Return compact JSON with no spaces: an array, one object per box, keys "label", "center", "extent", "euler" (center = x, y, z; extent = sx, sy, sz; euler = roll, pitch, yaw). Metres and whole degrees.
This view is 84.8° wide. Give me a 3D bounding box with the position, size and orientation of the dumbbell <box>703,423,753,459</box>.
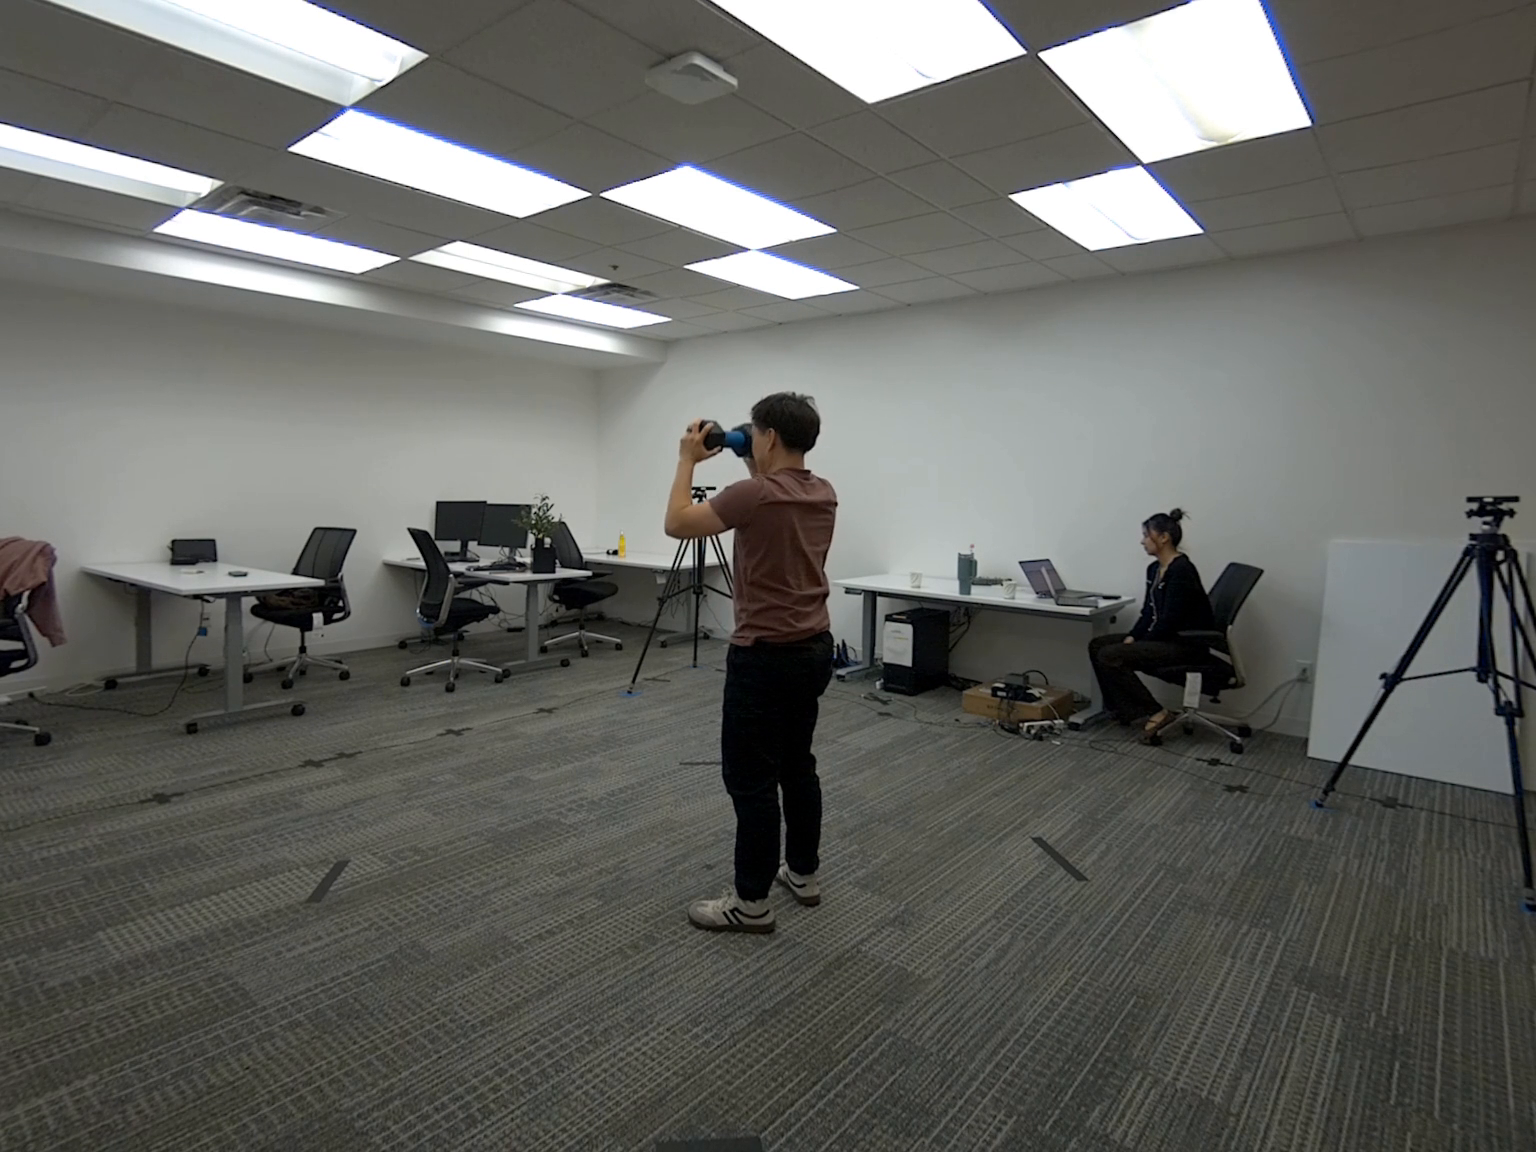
[{"label":"dumbbell","center":[-0.148,-0.456,2.873],"extent":[0.113,0.121,0.286],"euler":[23,20,35]}]
